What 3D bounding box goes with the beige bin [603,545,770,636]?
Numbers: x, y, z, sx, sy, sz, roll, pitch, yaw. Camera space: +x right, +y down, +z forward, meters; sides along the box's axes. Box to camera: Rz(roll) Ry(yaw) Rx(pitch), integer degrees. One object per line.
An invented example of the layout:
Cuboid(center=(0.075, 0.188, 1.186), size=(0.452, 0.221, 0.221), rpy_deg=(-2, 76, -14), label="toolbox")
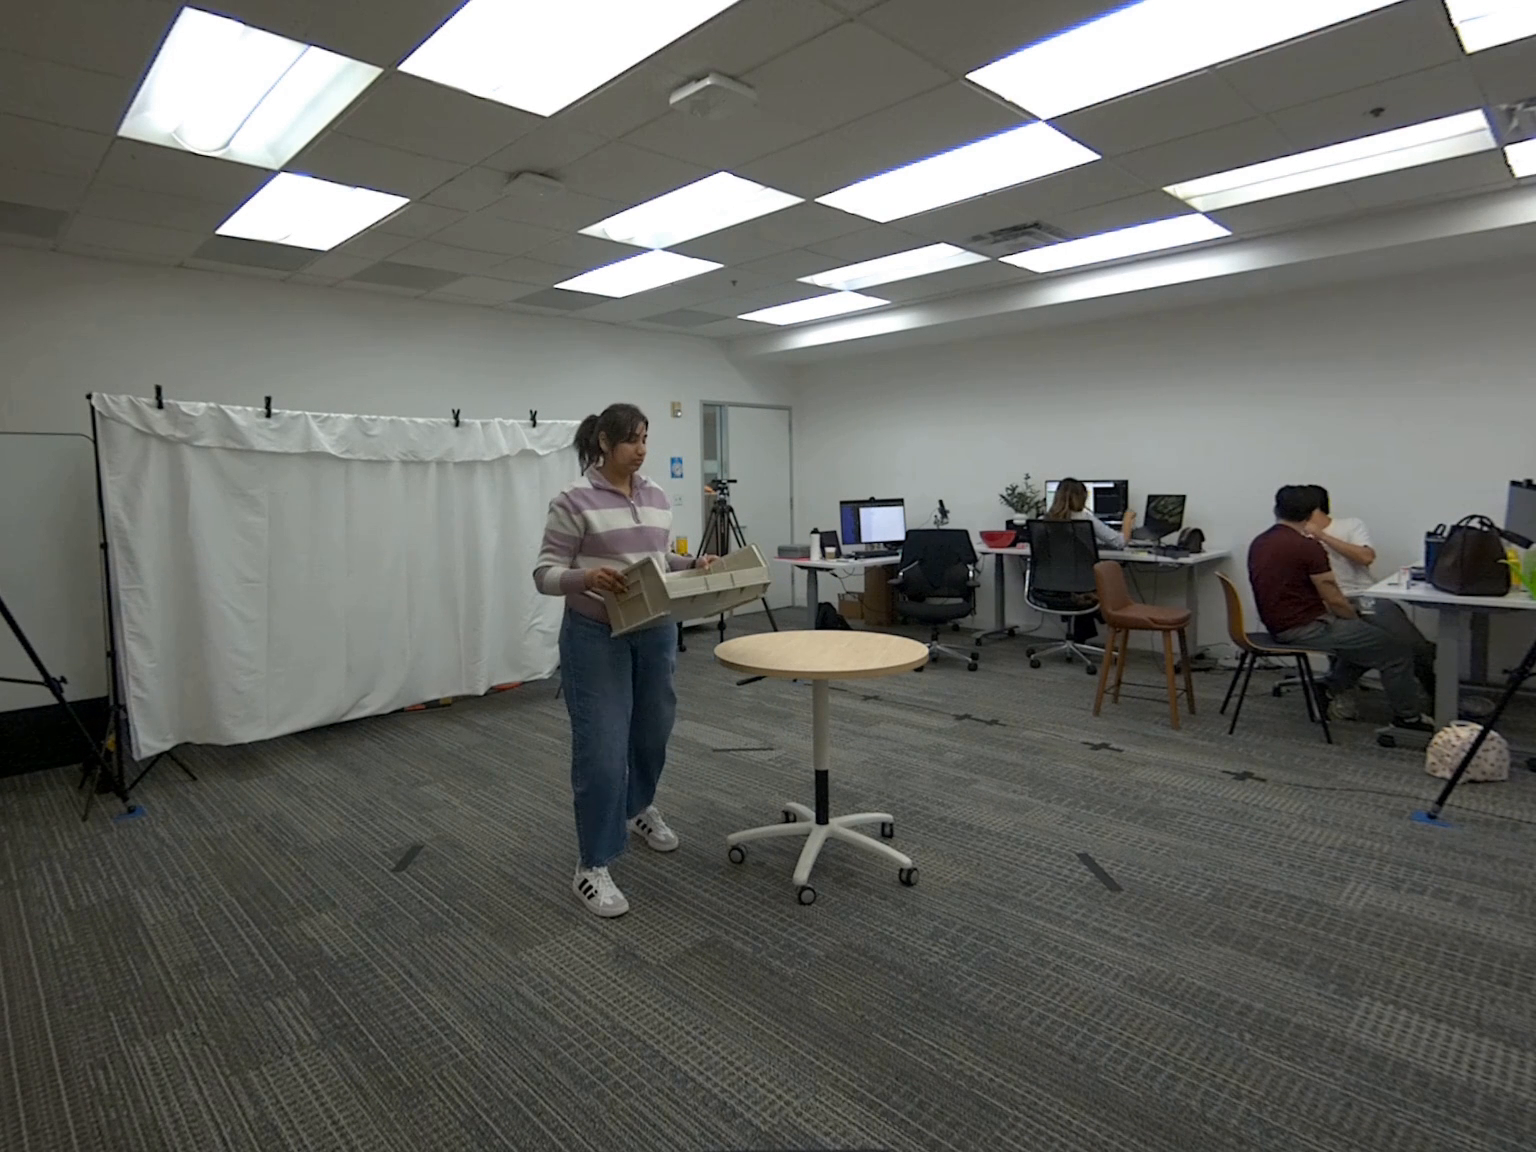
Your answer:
Cuboid(center=(-0.265, 0.040, 2.744), size=(0.412, 0.191, 0.383), rpy_deg=(-9, -9, -40), label="beige bin")
